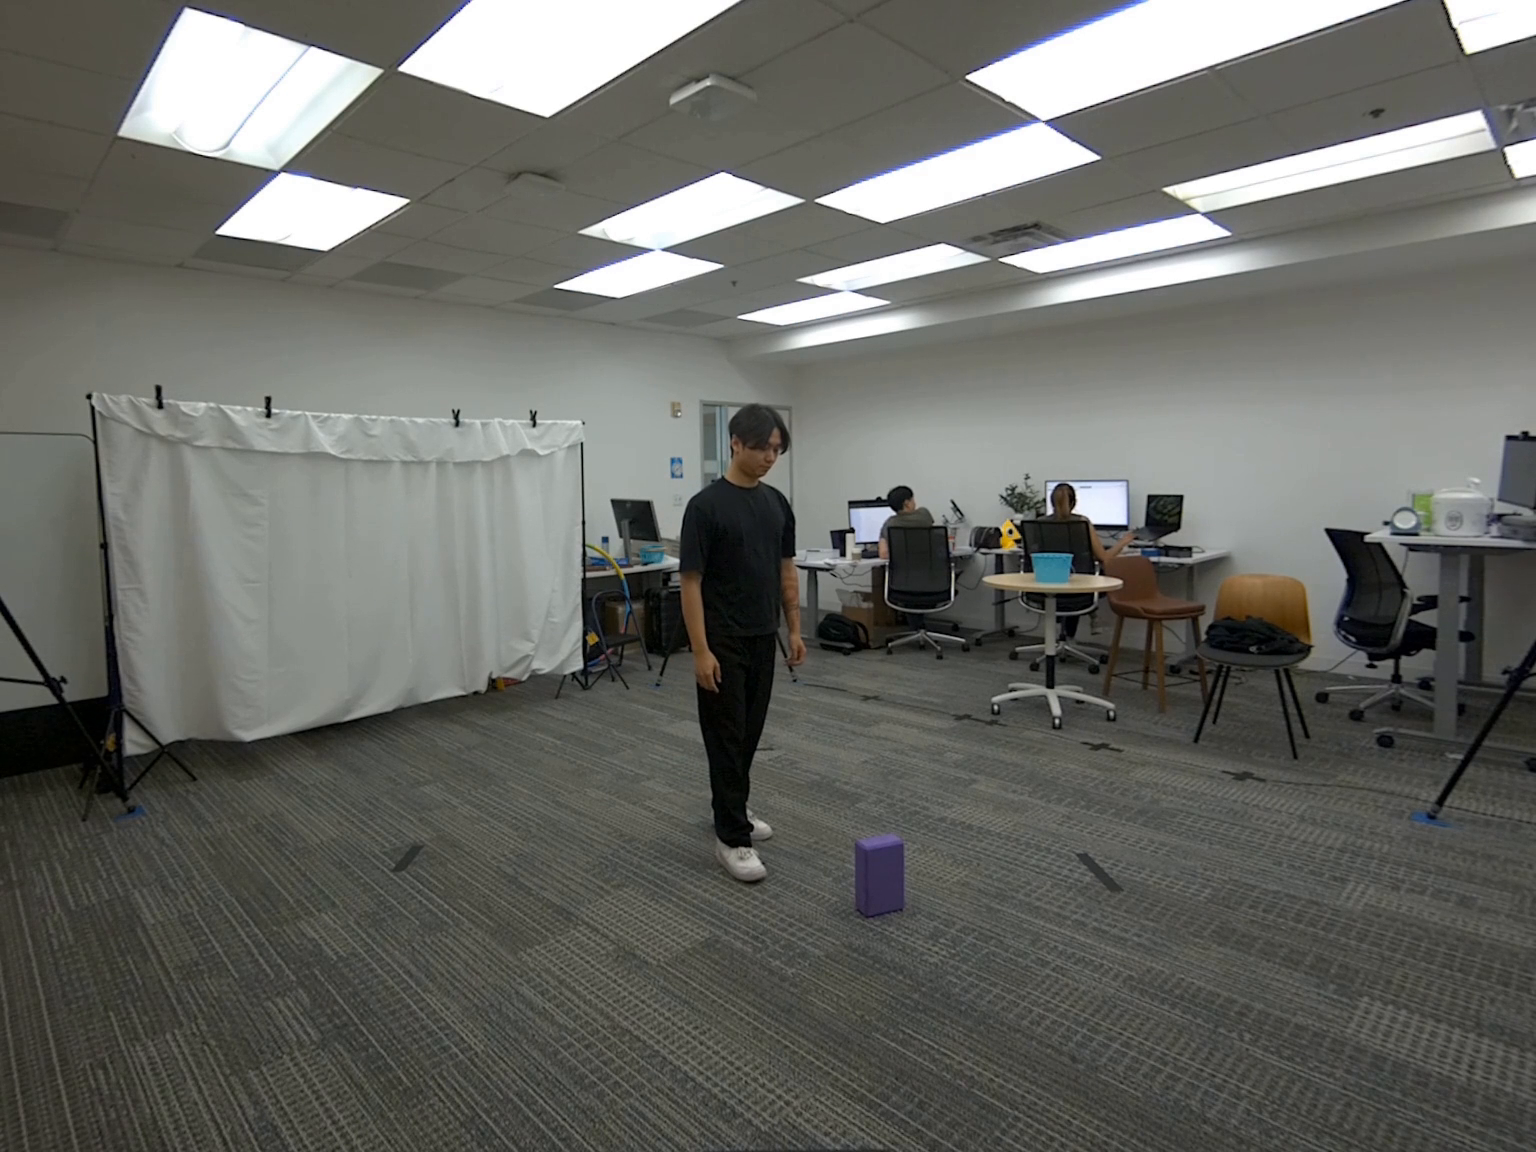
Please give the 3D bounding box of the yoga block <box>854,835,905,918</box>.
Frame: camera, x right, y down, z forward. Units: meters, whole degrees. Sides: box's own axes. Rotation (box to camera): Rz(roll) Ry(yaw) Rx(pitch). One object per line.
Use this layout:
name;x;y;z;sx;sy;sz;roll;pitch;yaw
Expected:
yoga block;0.365;0.963;2.756;0.146;0.228;0.078;-2;4;-22
